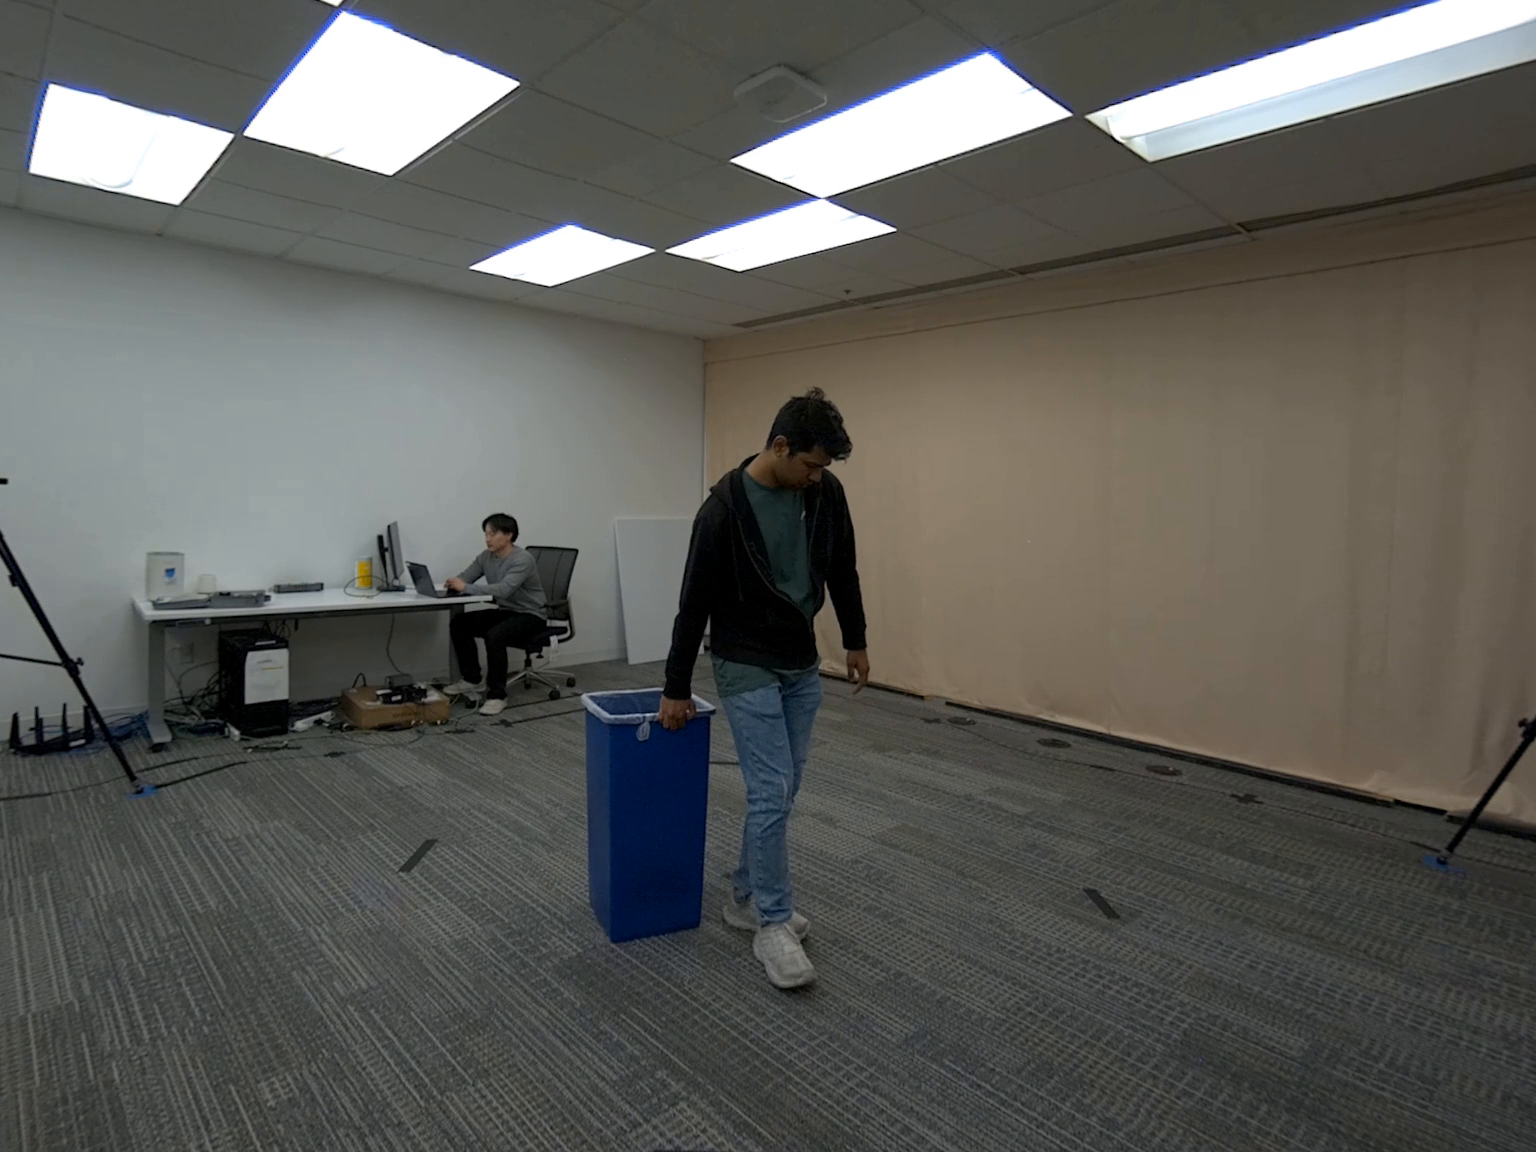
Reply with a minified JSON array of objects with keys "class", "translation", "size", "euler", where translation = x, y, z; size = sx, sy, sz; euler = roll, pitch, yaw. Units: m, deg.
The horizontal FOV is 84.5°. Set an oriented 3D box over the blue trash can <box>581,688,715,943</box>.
[{"class":"blue trash can","translation":[-0.412,0.770,2.803],"size":[0.367,0.712,0.386],"euler":[0,3,-26]}]
